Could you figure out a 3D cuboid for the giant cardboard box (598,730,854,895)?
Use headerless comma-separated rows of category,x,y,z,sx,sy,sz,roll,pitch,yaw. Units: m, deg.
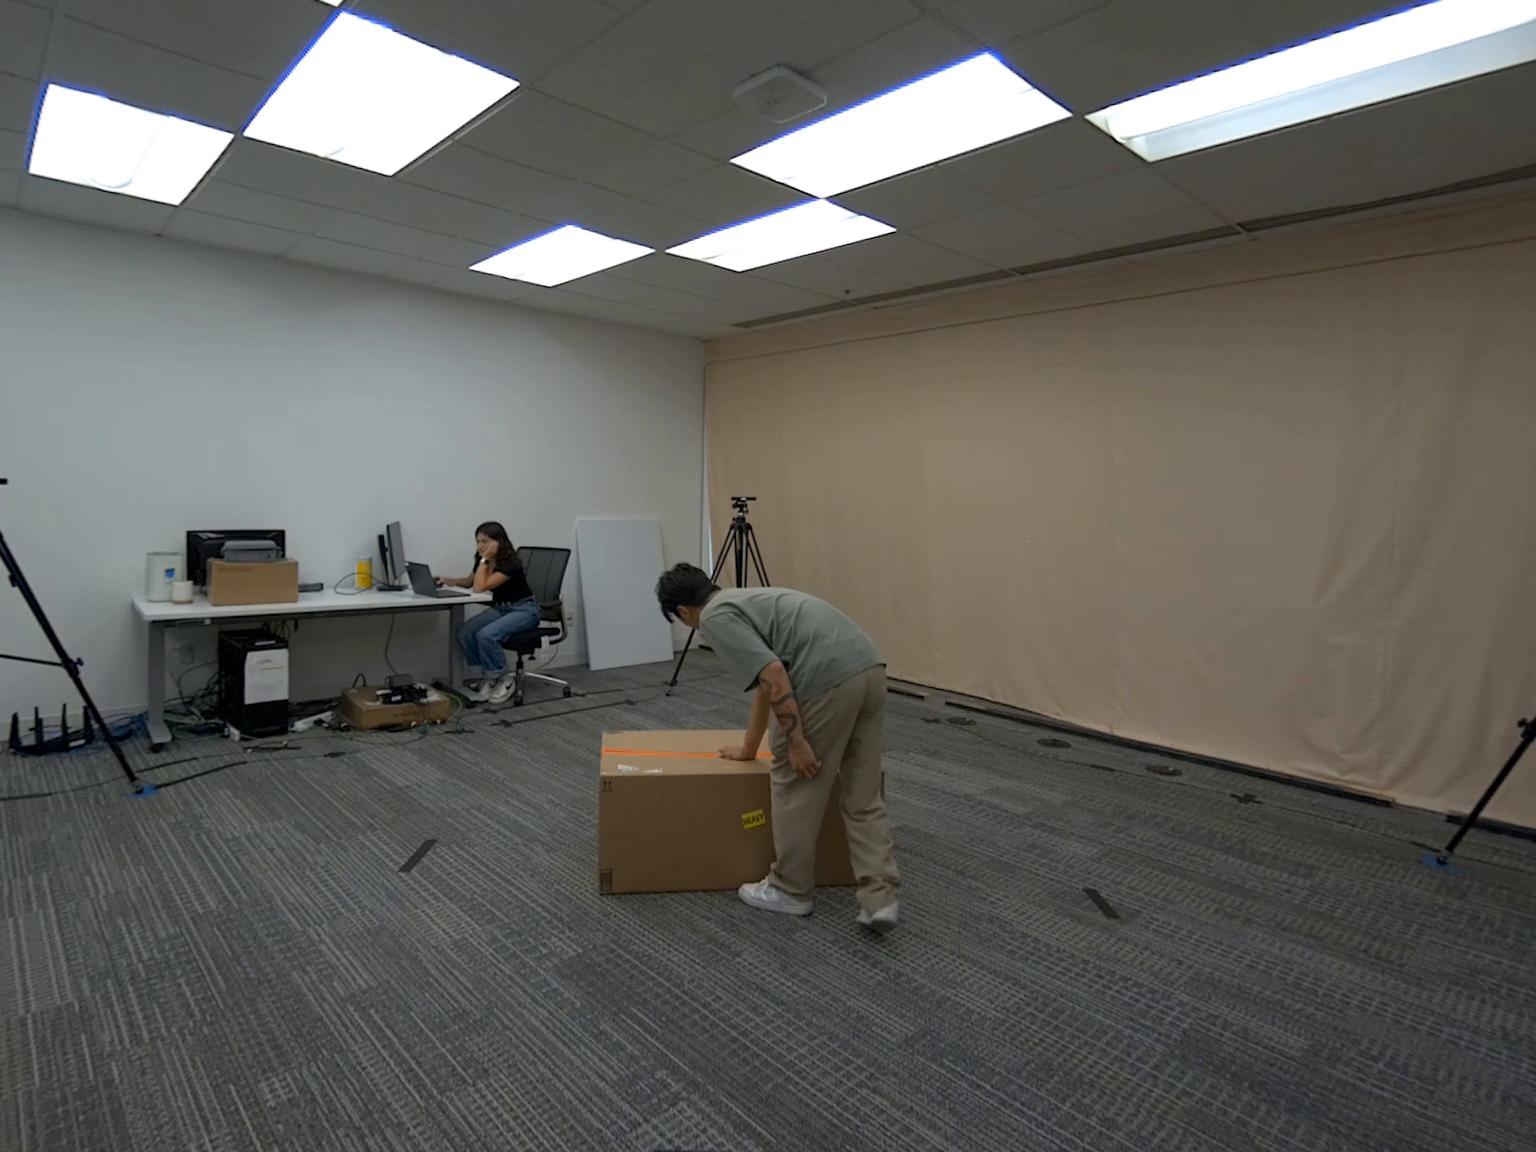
giant cardboard box,-0.143,0.878,3.268,1.019,0.425,0.583,1,5,-8
